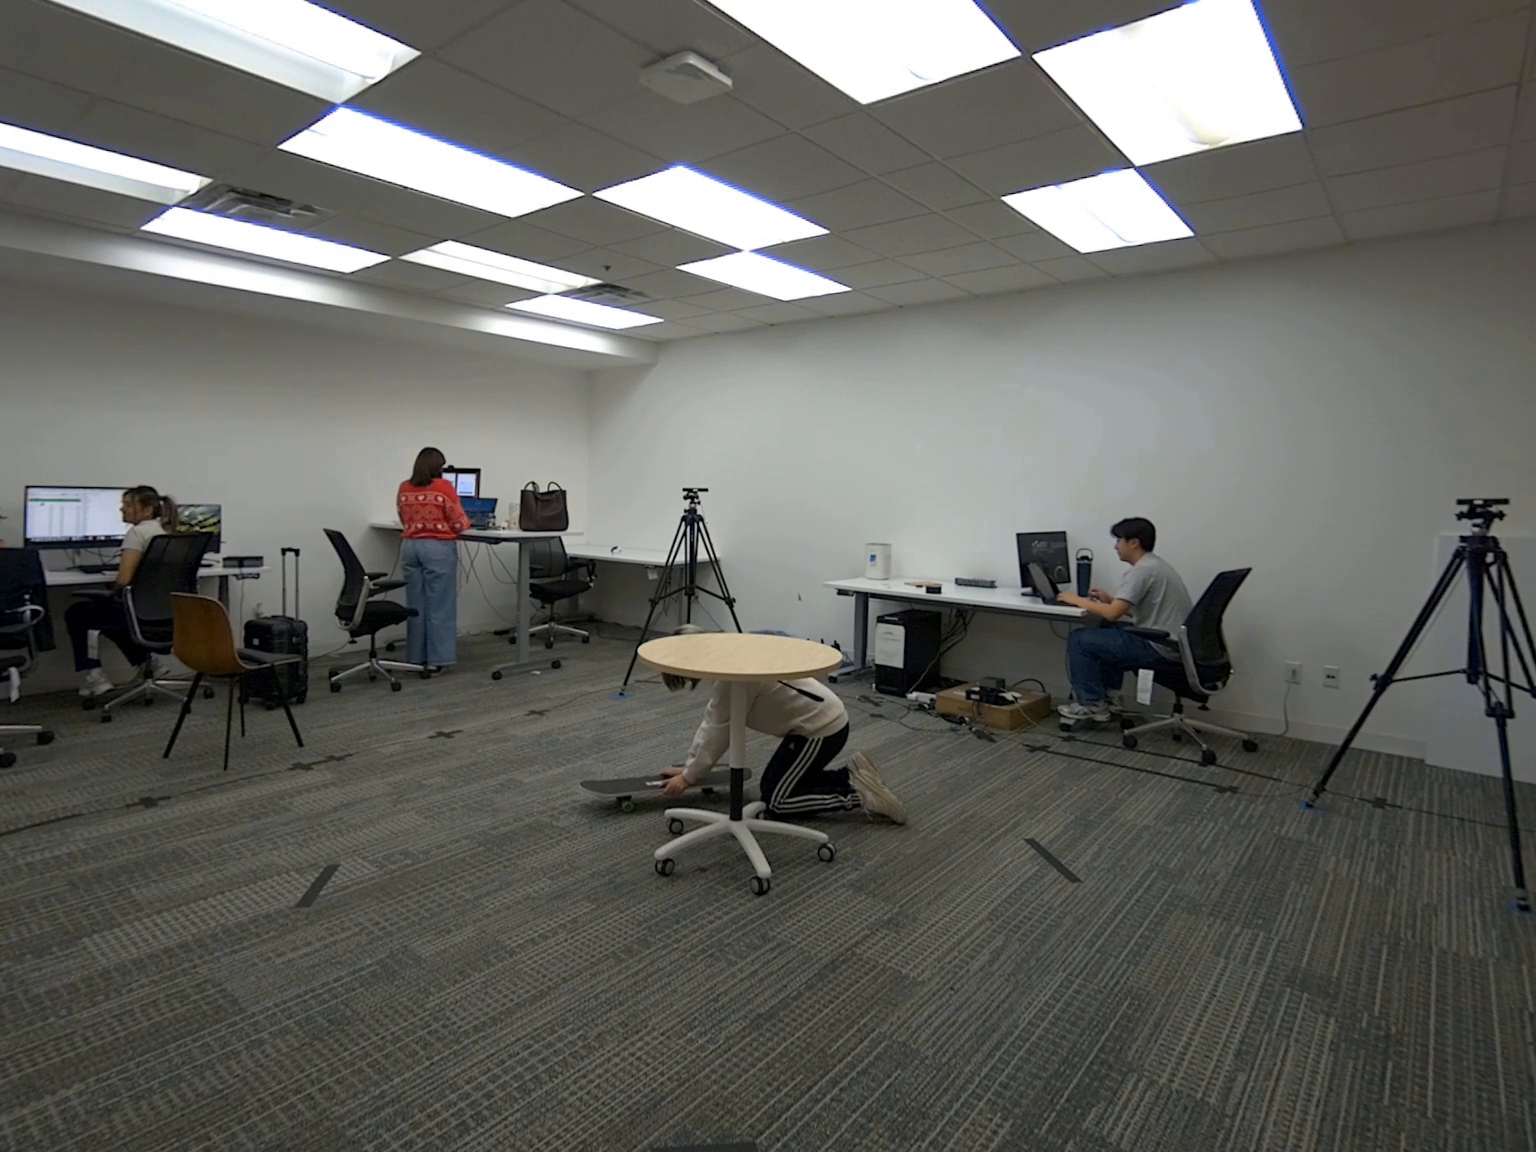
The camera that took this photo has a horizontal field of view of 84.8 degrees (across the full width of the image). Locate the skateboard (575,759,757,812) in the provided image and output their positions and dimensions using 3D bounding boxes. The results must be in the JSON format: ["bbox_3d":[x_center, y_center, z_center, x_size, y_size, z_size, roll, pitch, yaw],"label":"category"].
[{"bbox_3d":[-0.459,0.935,3.781,0.771,0.110,0.197,-1,3,-18],"label":"skateboard"}]
